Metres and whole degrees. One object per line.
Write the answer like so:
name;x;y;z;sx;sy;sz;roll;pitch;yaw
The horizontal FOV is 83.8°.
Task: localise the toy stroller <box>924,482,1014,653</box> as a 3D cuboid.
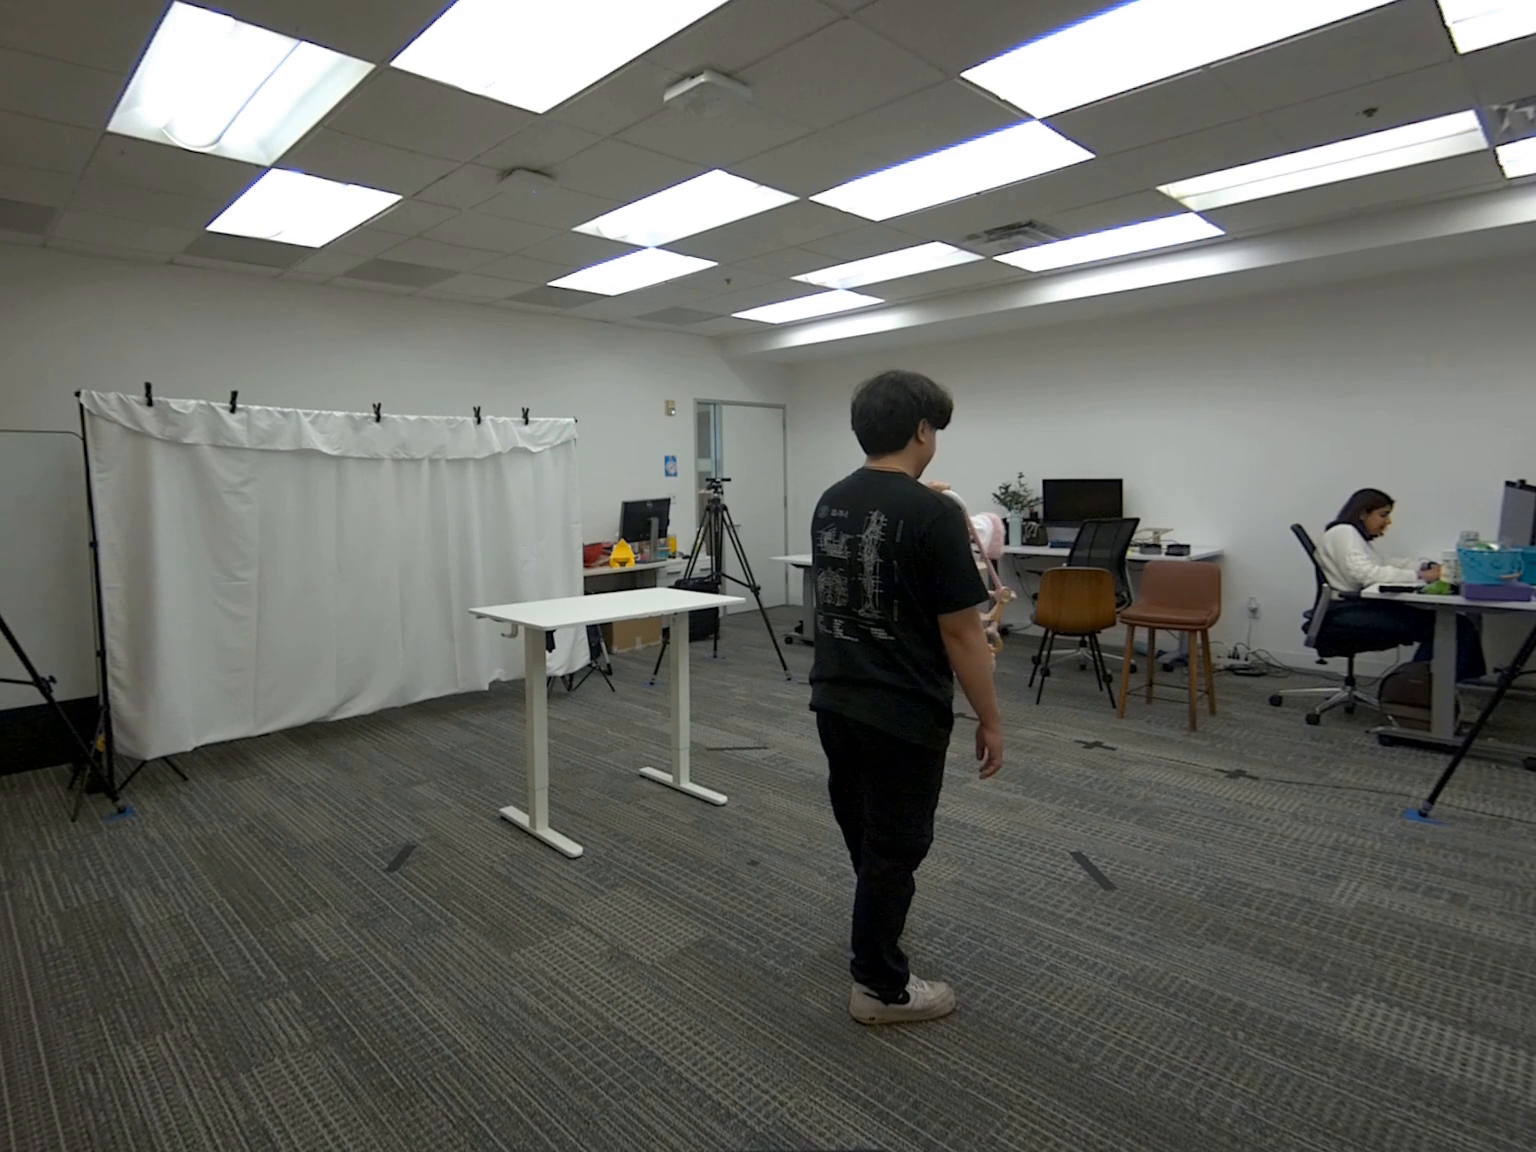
toy stroller;0.613;0.028;2.619;0.333;0.536;0.287;10;-3;-23
